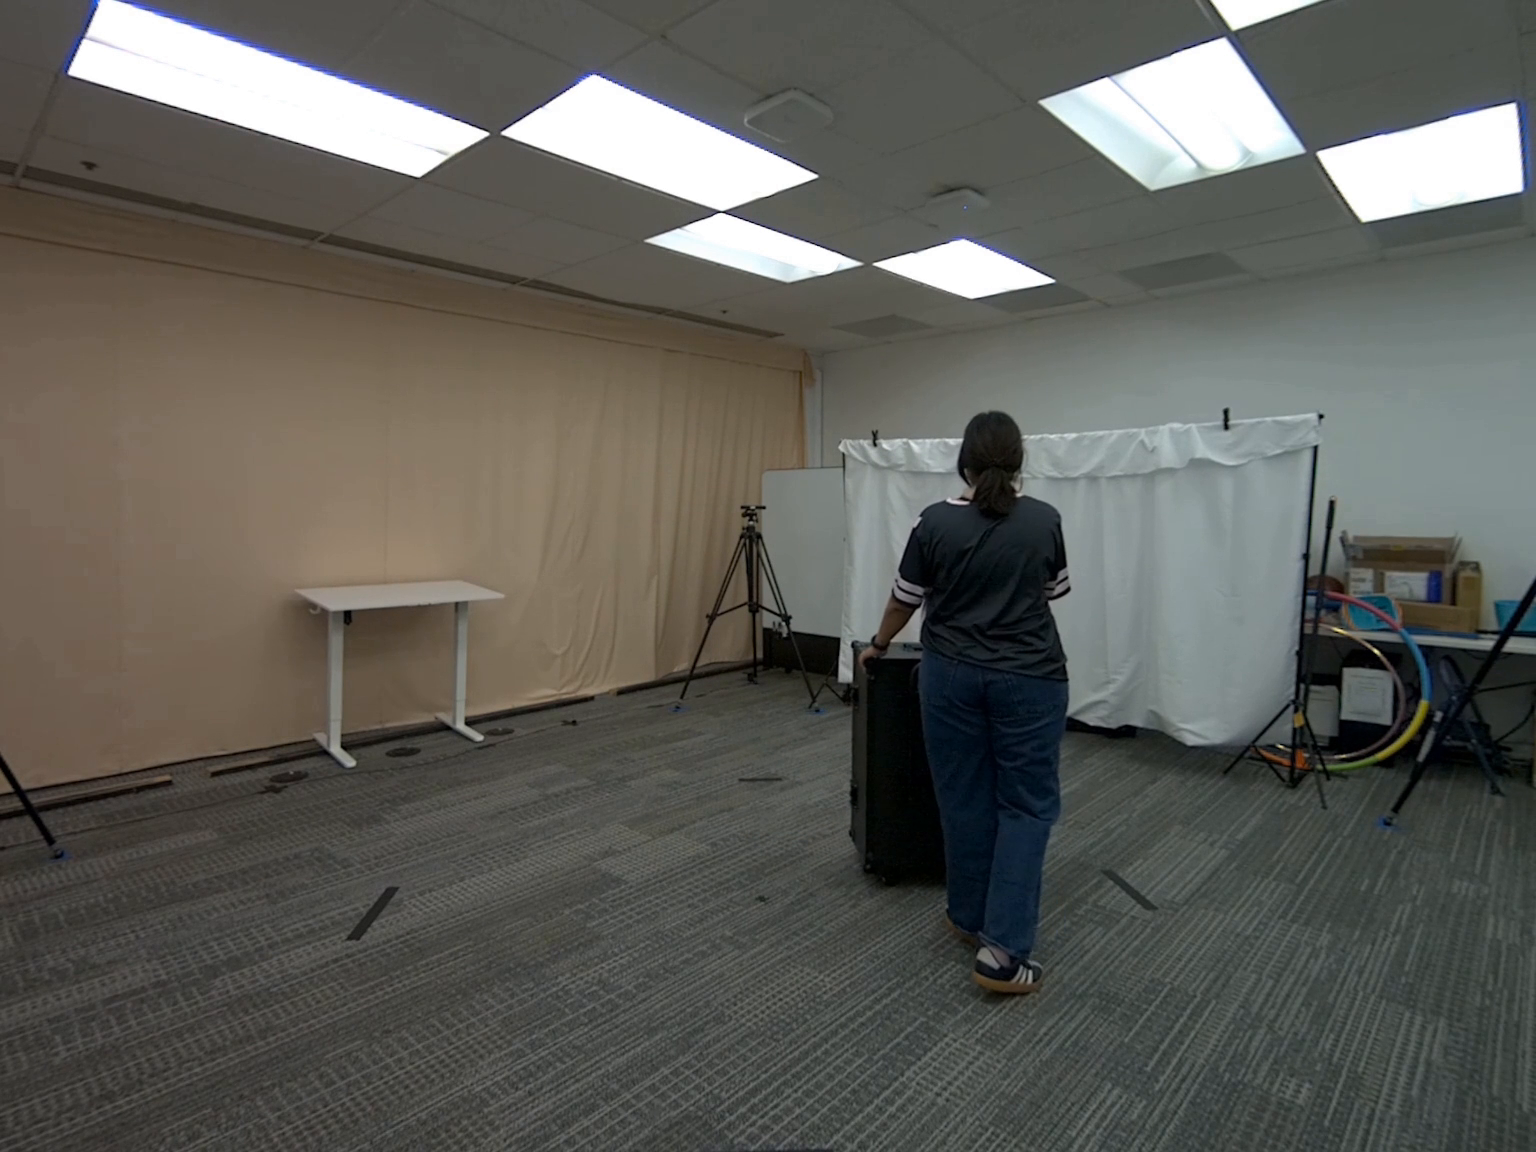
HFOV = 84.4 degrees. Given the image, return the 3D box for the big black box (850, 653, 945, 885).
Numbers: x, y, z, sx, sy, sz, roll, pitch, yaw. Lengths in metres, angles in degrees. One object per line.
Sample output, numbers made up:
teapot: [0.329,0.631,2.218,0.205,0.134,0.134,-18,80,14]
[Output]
big black box: [0.592,0.705,3.171,0.523,0.866,0.386,0,4,-1]
